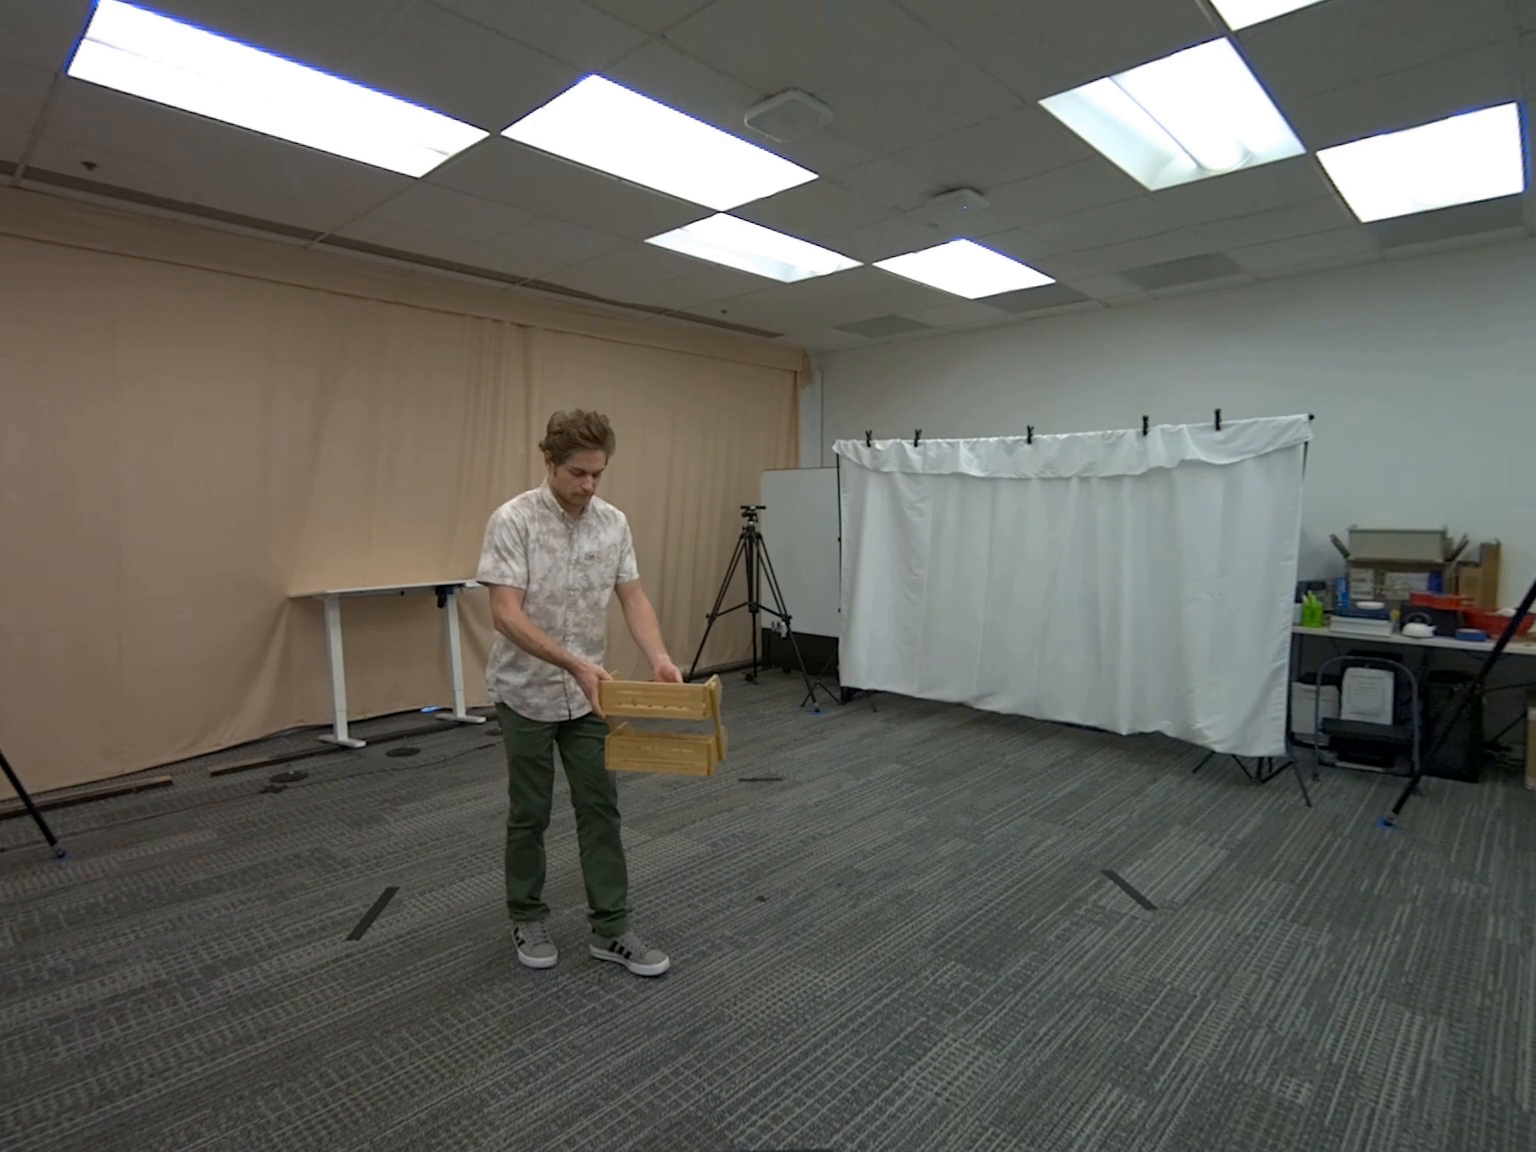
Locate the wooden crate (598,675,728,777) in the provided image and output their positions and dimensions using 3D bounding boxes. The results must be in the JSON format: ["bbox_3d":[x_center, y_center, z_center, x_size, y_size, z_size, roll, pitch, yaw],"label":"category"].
[{"bbox_3d":[-0.287,0.403,2.420,0.328,0.273,0.299,0,3,10],"label":"wooden crate"}]
